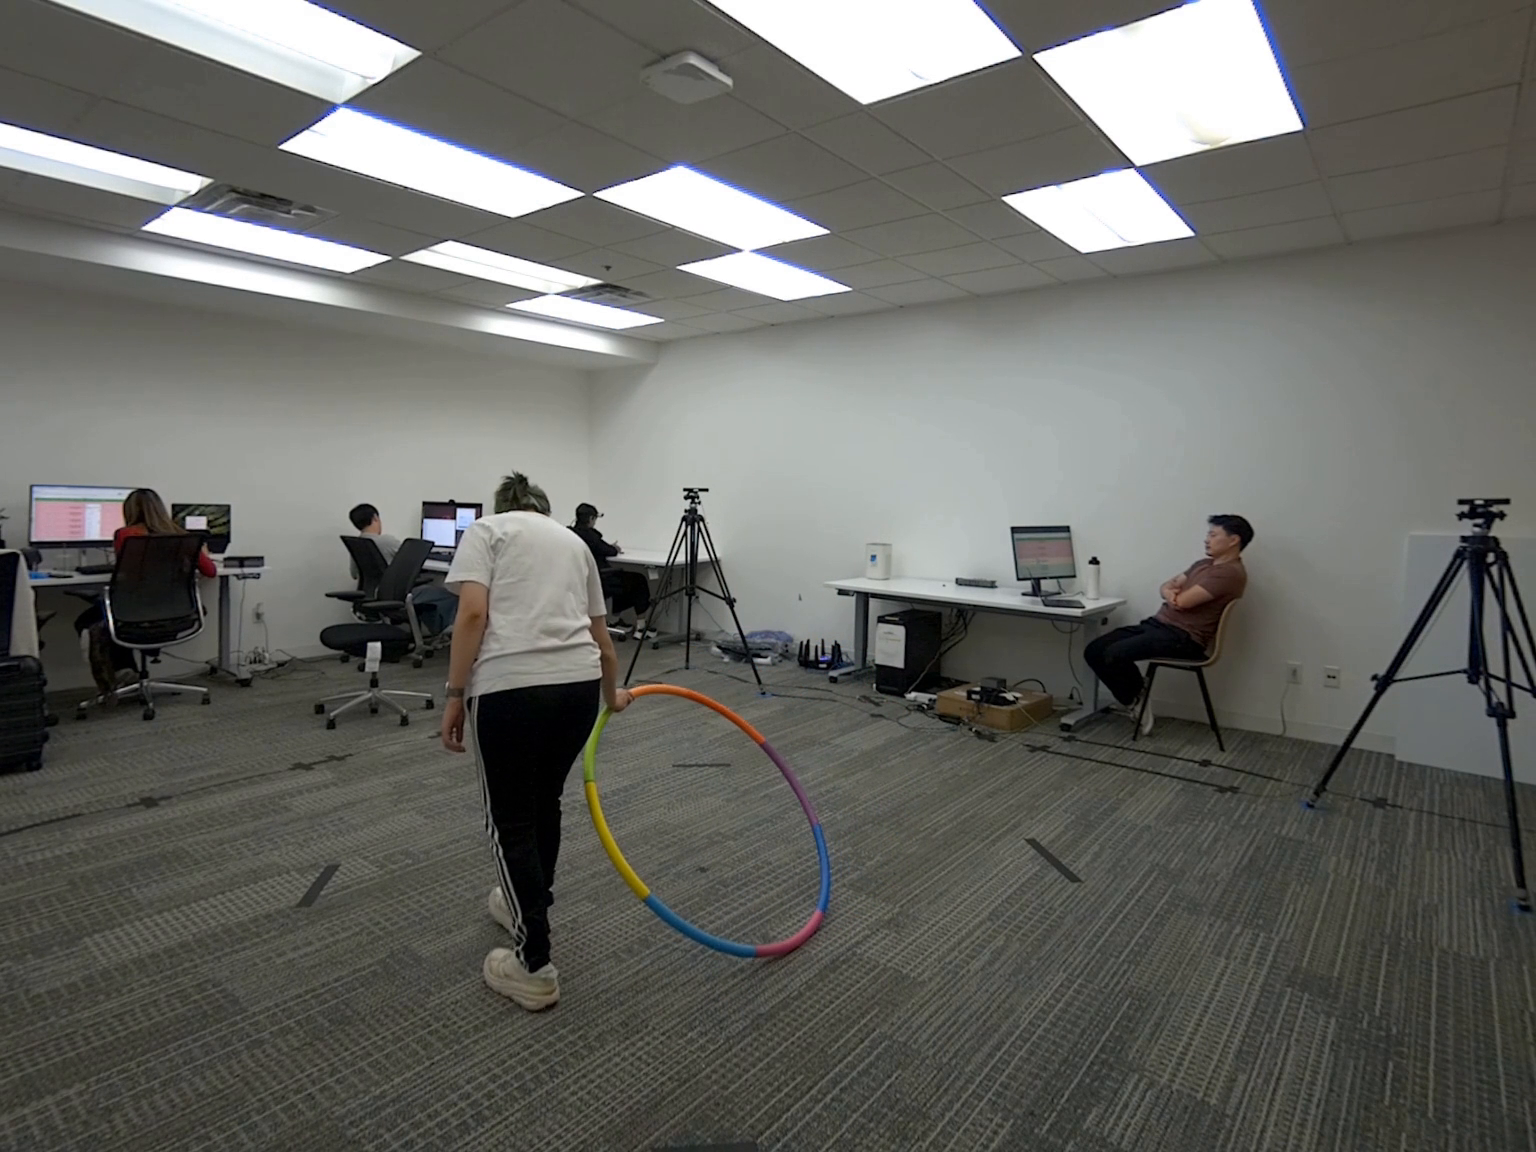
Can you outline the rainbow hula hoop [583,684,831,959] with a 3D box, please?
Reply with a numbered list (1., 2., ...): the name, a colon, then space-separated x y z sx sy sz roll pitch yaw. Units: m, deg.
1. rainbow hula hoop: -0.182 0.755 2.810 0.954 0.035 1.005 30 27 -19
